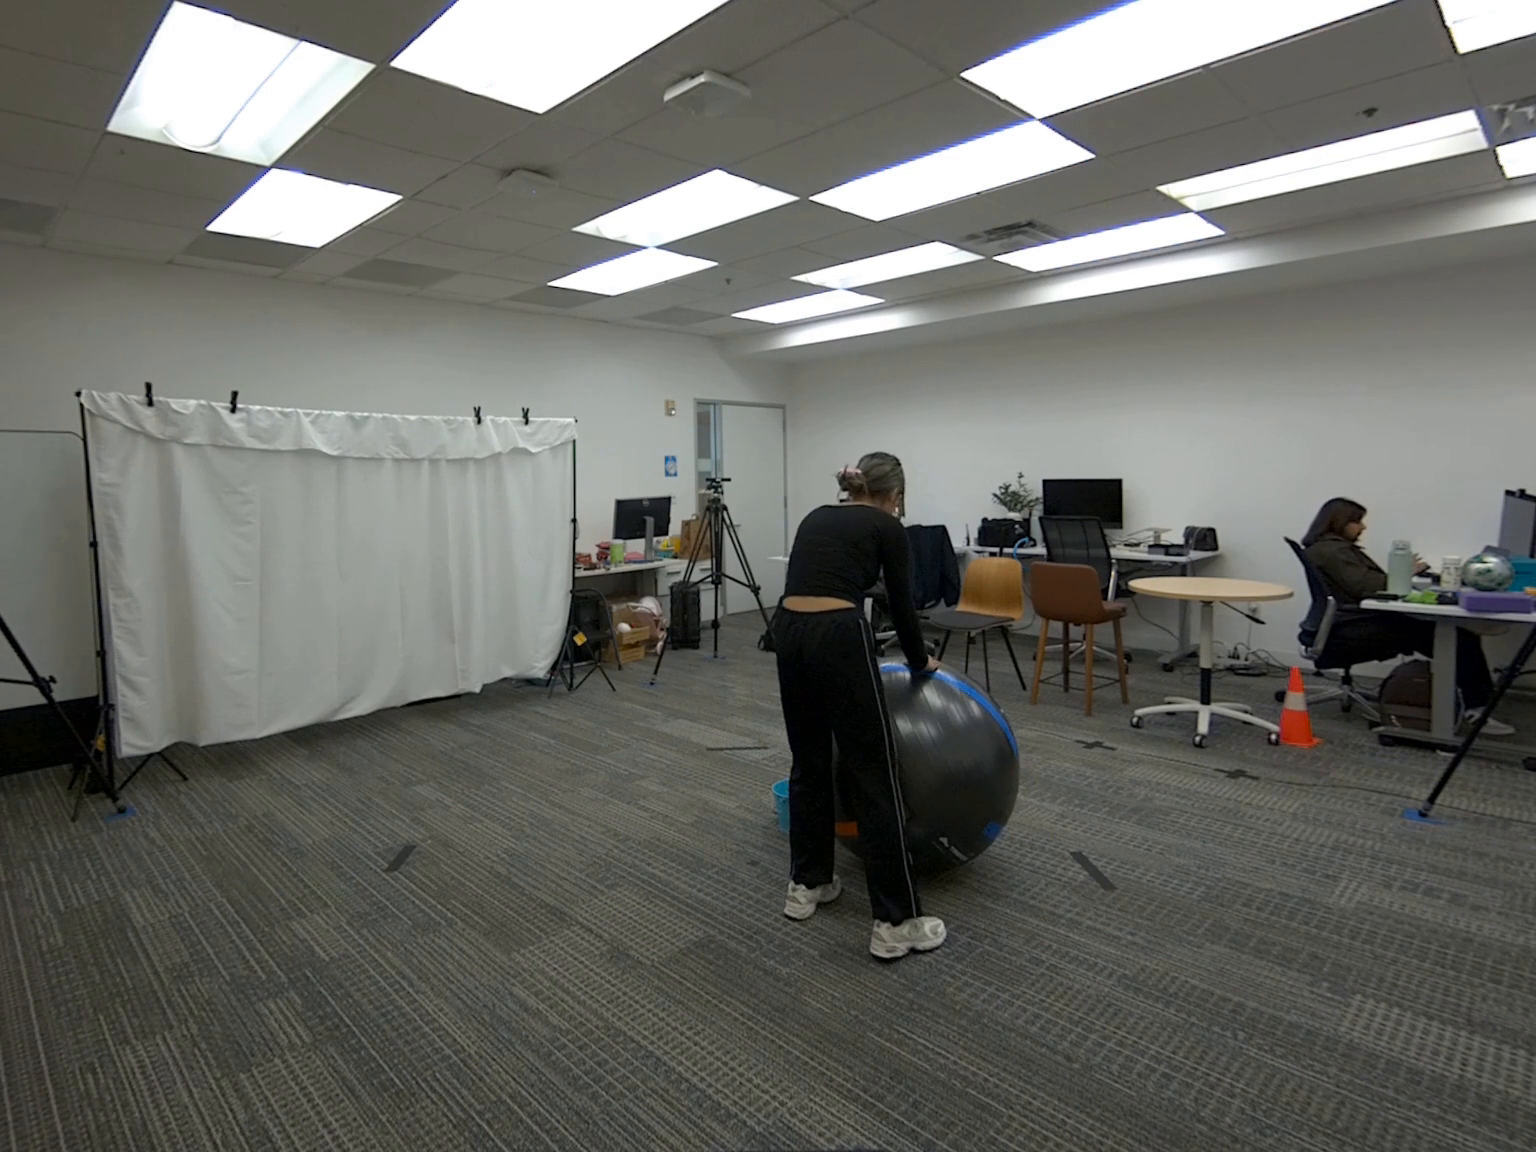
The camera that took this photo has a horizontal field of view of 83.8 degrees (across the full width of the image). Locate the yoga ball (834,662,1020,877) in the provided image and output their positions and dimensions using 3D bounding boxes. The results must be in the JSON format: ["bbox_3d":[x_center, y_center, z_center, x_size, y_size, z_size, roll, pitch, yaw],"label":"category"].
[{"bbox_3d":[0.517,0.673,3.078,0.757,0.755,0.762,-1,5,-2],"label":"yoga ball"}]
